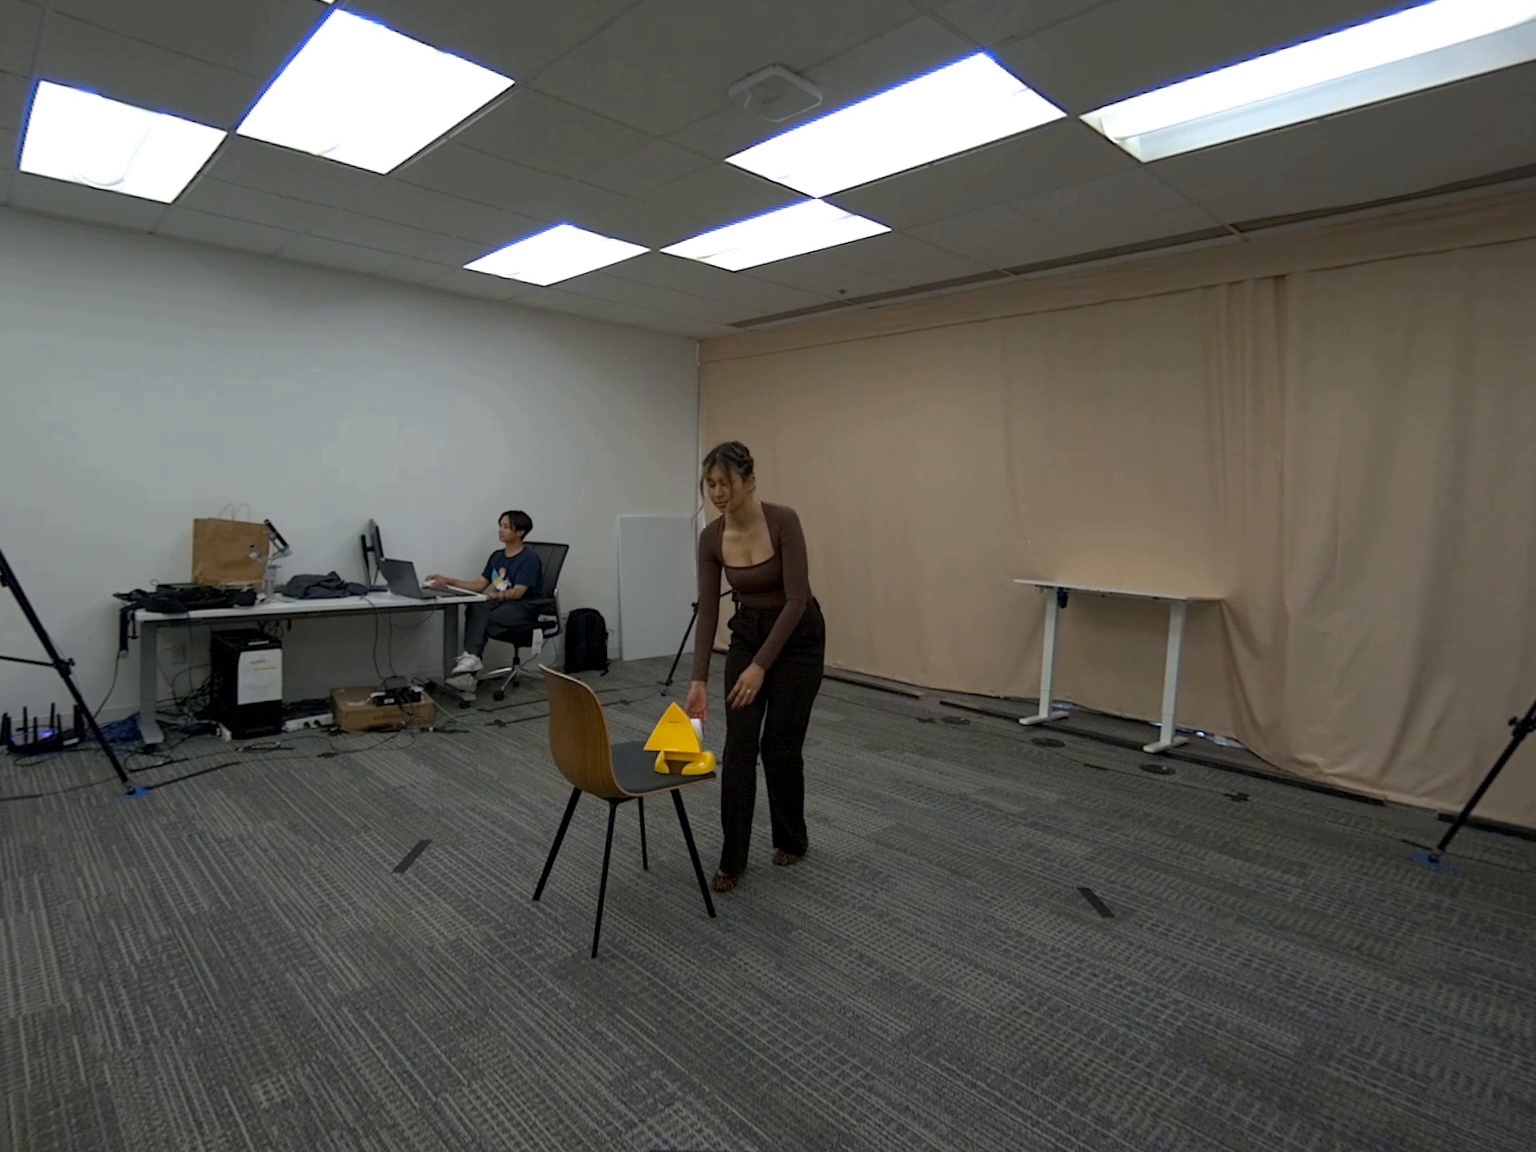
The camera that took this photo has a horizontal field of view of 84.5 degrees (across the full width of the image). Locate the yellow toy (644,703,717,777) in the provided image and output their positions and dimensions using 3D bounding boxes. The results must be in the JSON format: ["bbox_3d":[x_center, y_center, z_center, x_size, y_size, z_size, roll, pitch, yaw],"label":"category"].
[{"bbox_3d":[-0.286,0.529,2.798,0.208,0.231,0.190,-2,0,22],"label":"yellow toy"}]
